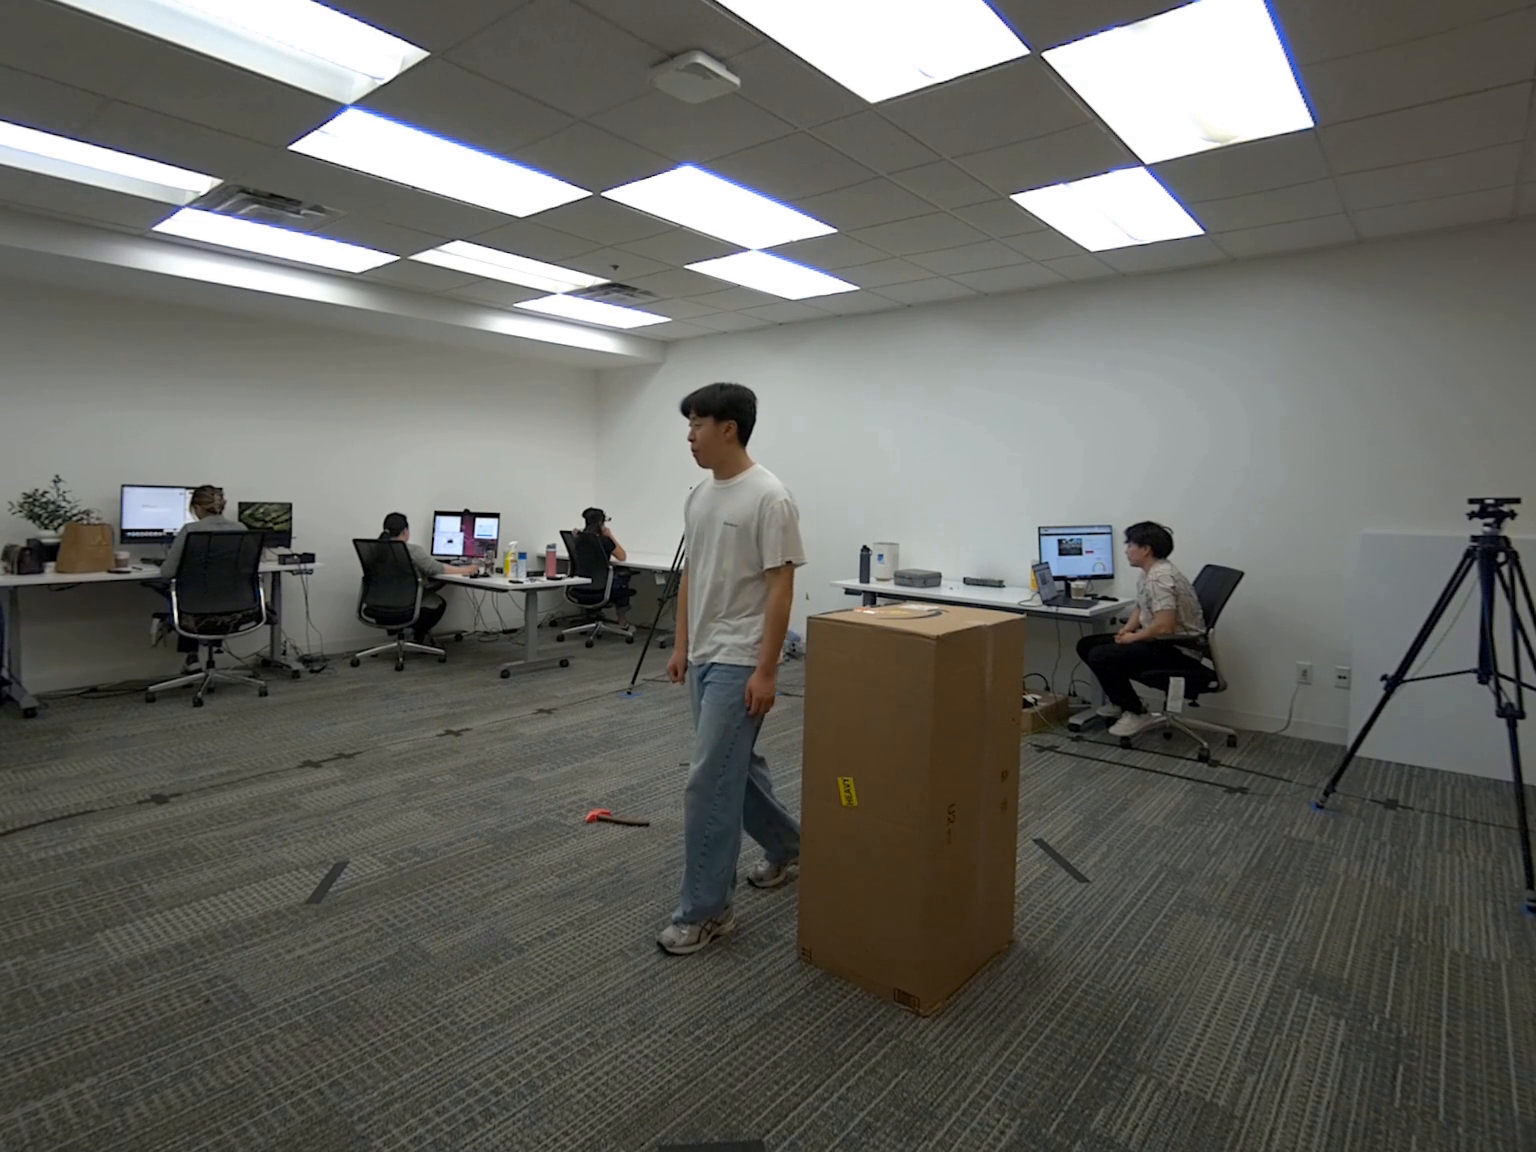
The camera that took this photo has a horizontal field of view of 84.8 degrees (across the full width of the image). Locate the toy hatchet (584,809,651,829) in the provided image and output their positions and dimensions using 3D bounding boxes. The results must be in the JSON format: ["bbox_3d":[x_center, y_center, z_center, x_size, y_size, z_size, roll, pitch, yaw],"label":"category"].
[{"bbox_3d":[-0.634,1.004,3.552,0.271,0.029,0.131,3,4,3],"label":"toy hatchet"}]
